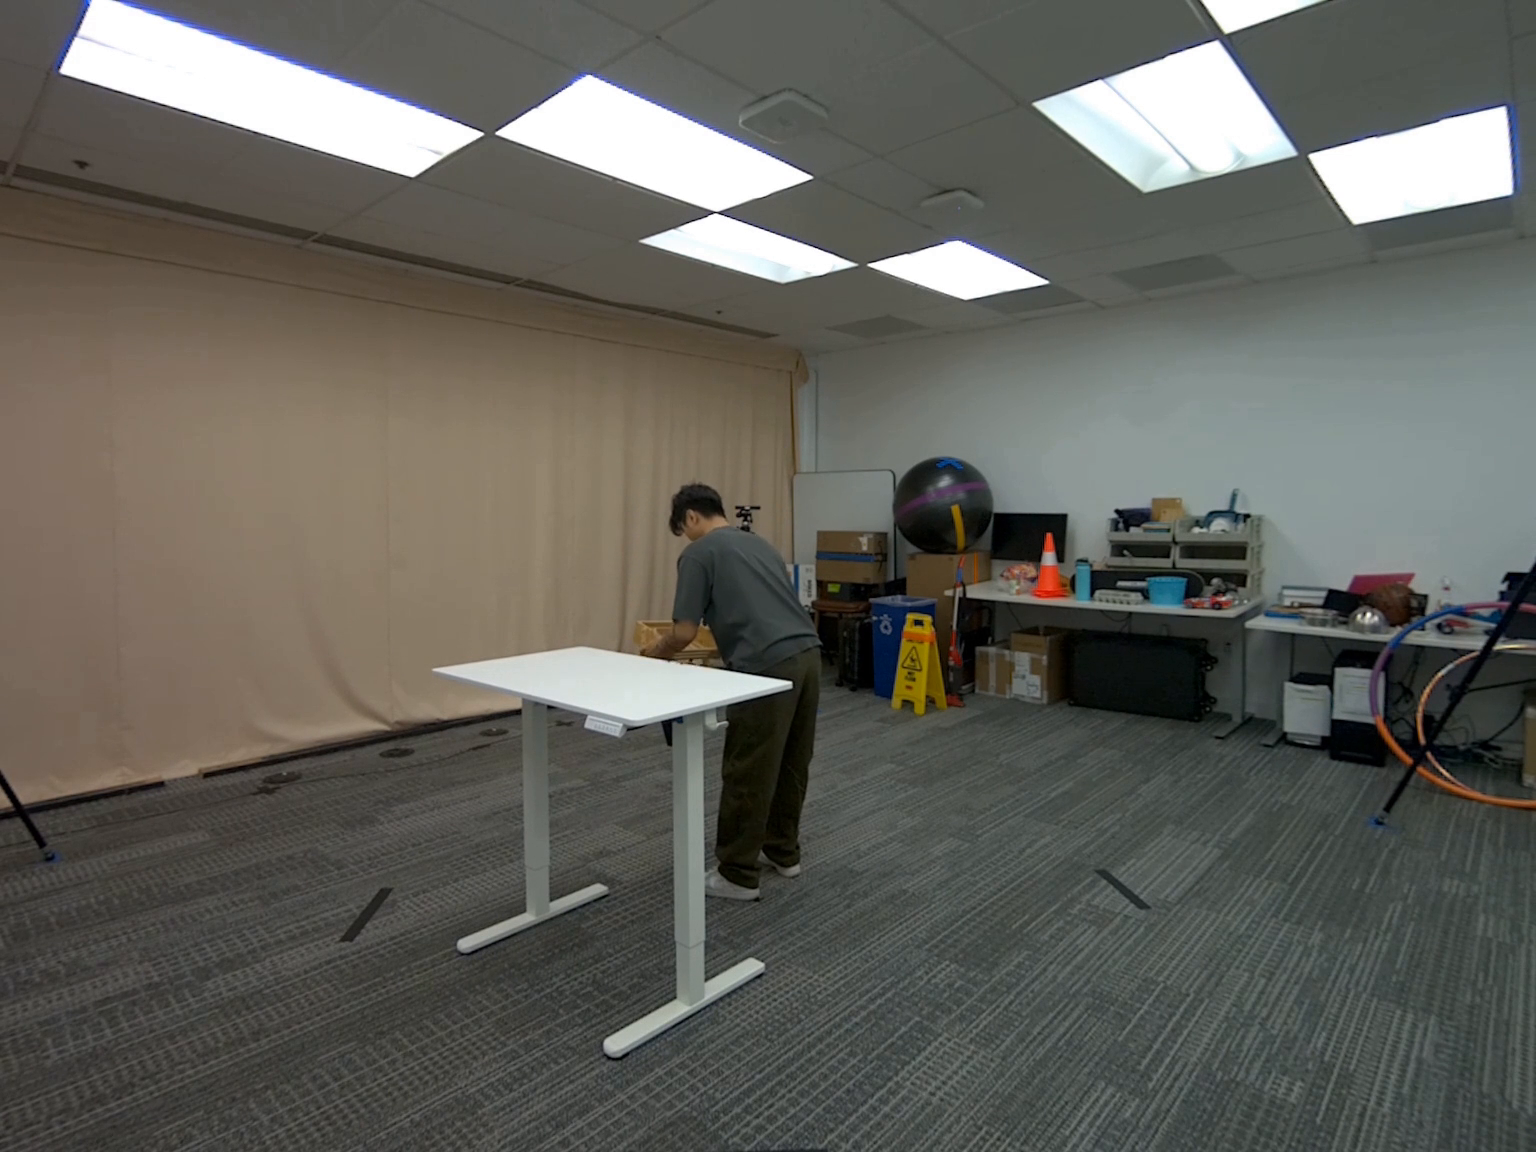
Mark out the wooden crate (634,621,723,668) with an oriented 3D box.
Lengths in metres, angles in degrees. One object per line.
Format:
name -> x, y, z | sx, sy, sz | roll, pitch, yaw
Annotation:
wooden crate -> -0.348, 0.350, 3.394 | 0.314, 0.272, 0.313 | 3, 14, -44
